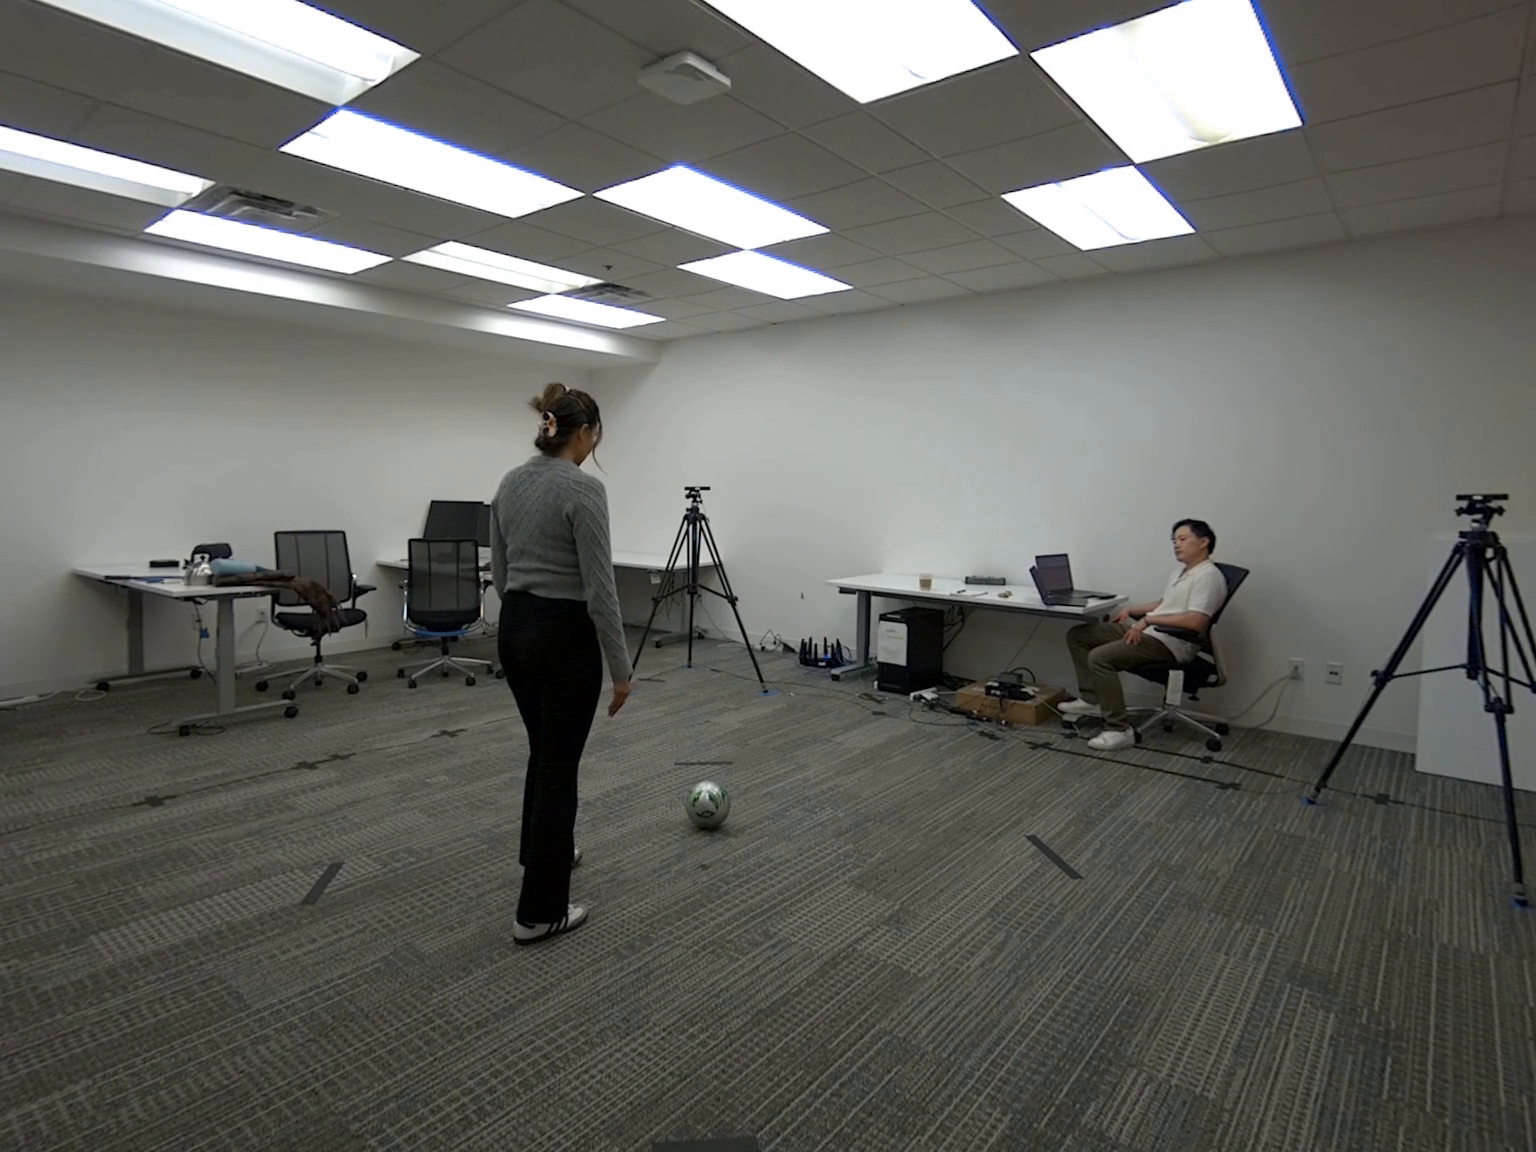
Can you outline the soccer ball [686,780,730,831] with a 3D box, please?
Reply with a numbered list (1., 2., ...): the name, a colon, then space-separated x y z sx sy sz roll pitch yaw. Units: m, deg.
1. soccer ball: -0.255 0.933 3.488 0.187 0.187 0.188 1 4 -2
